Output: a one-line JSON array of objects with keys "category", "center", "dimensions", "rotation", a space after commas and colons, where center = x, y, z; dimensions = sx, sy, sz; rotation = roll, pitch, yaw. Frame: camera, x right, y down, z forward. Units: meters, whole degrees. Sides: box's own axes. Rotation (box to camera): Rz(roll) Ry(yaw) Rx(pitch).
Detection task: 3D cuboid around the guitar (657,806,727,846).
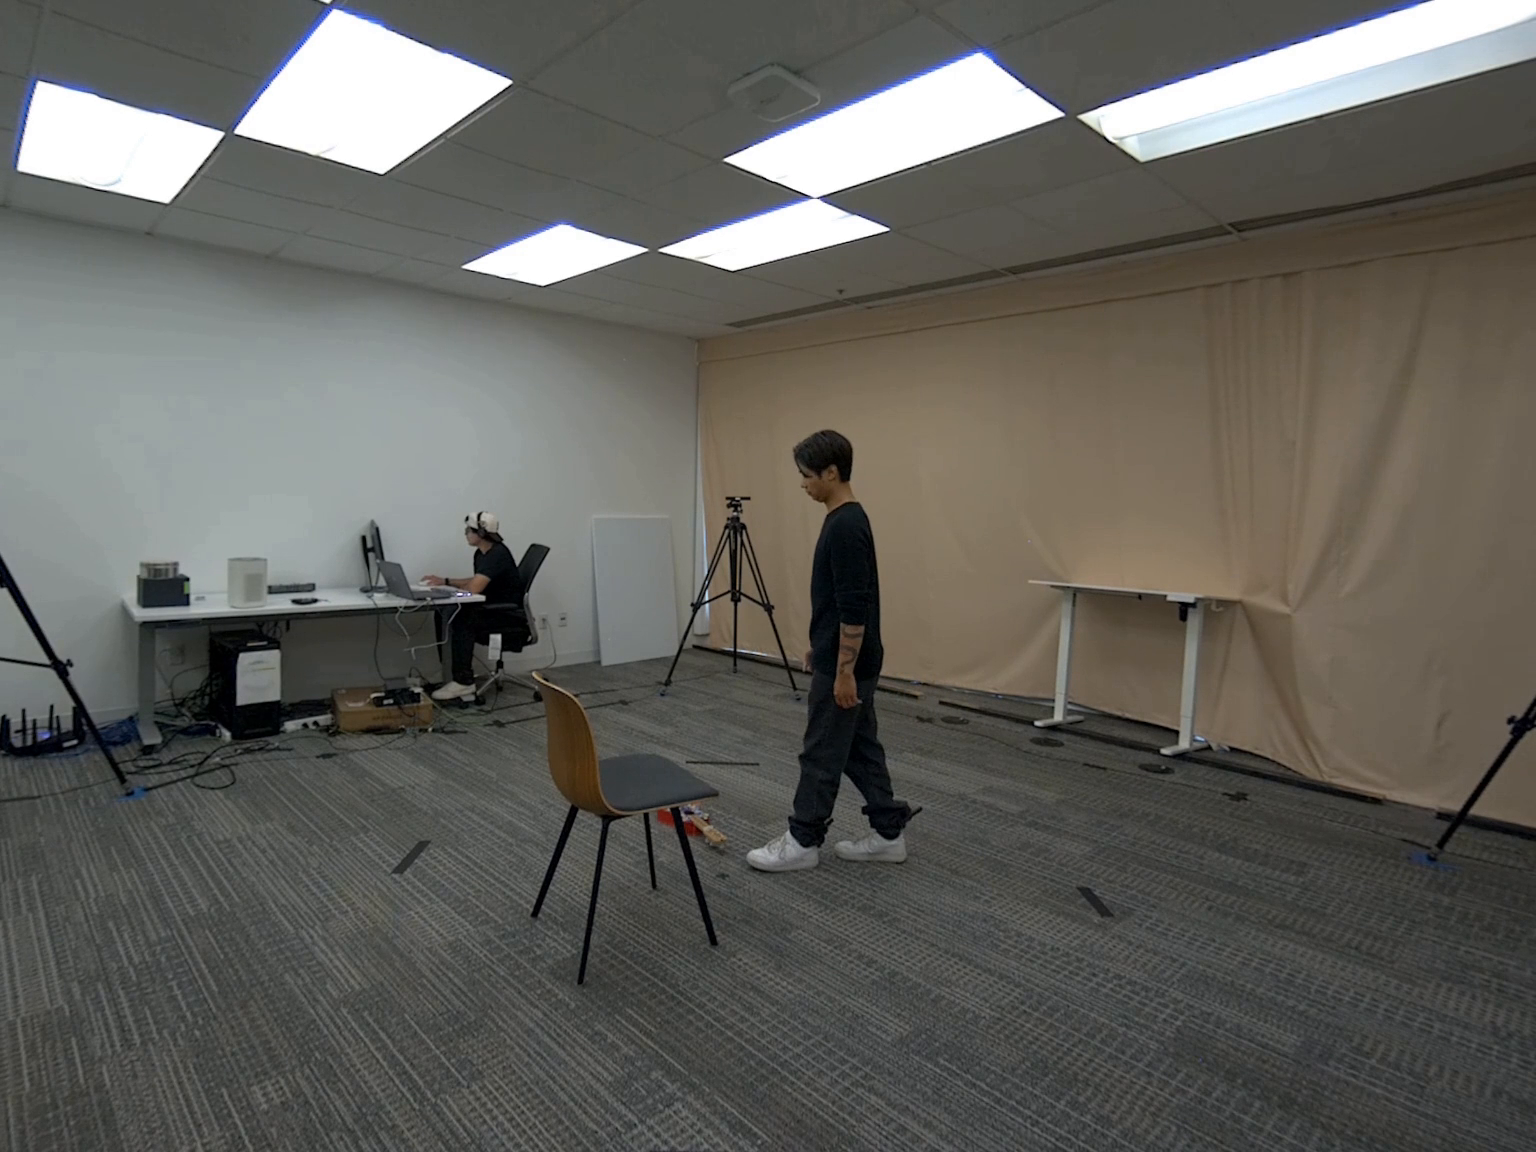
[{"category": "guitar", "center": [-0.336, 1.037, 3.497], "dimensions": [0.190, 0.070, 0.506], "rotation": [0, 5, -19]}]
